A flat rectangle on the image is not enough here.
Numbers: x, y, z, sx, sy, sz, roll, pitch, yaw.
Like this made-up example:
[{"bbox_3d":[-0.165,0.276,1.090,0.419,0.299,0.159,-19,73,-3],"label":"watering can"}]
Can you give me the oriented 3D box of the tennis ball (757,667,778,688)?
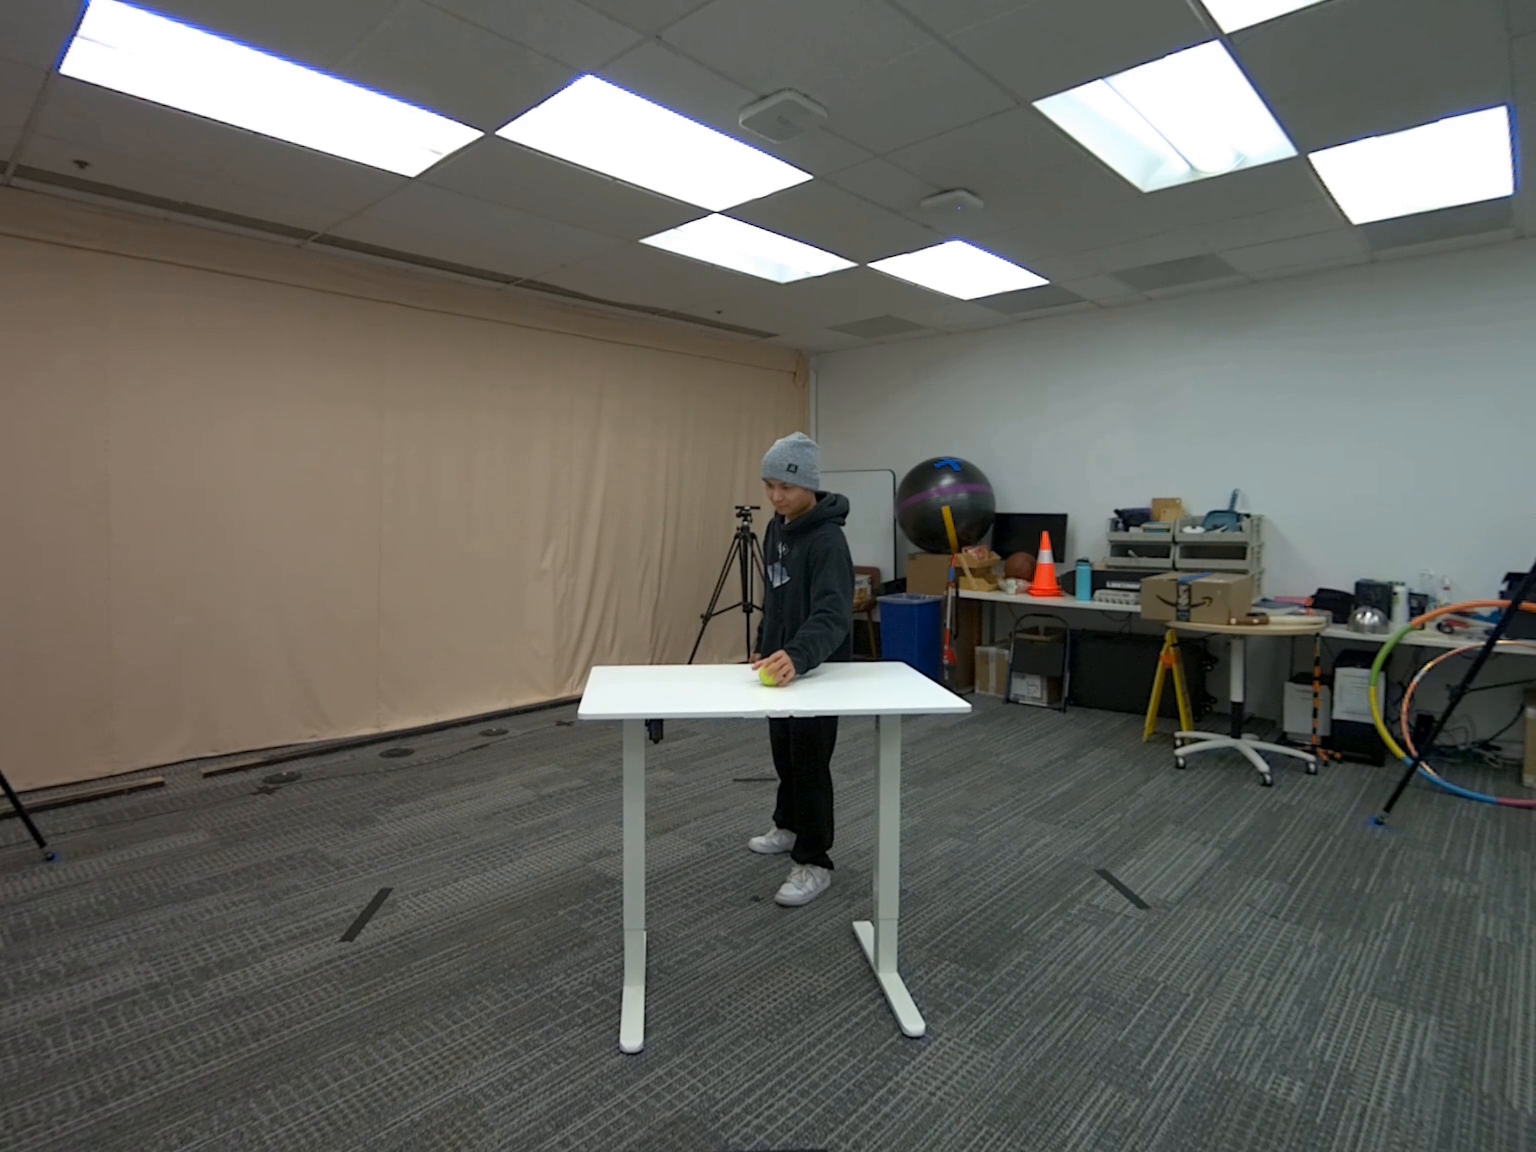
[{"bbox_3d":[0.027,0.278,2.407,0.066,0.066,0.067,0,4,-2],"label":"tennis ball"}]
